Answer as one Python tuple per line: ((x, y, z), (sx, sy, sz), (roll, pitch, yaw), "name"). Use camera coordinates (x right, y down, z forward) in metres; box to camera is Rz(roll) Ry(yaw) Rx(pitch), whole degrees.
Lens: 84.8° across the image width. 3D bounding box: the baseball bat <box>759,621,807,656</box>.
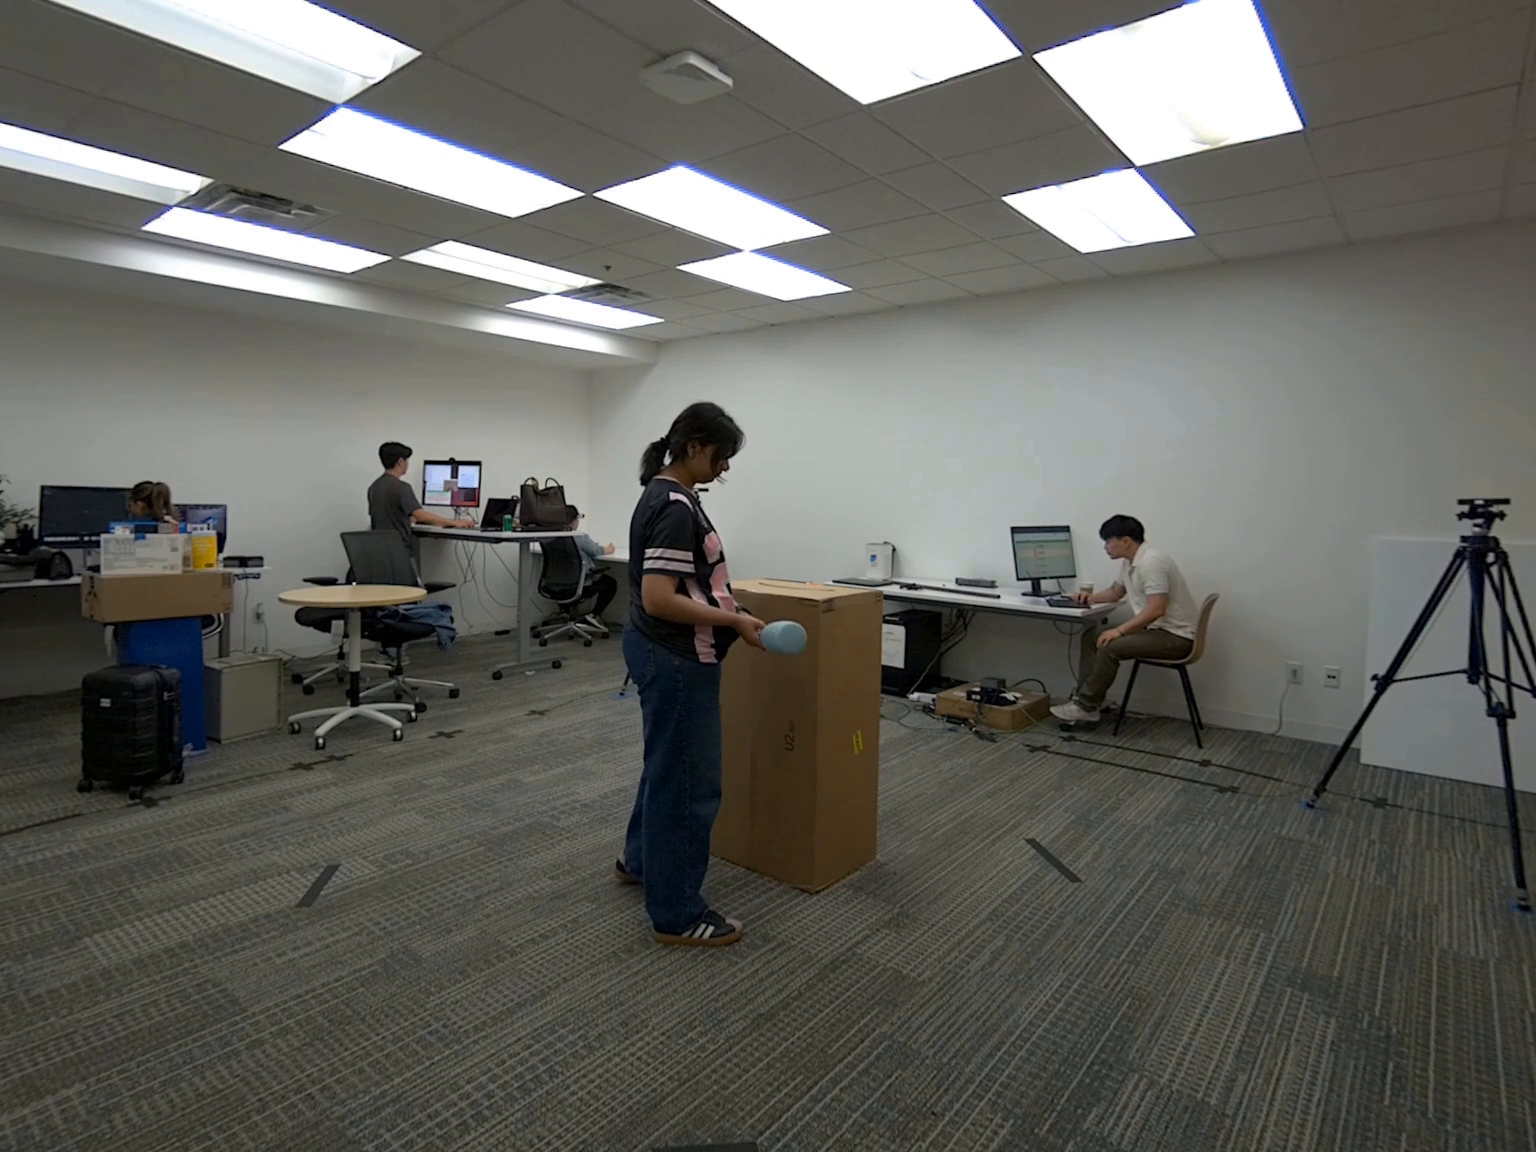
((-0.010, 0.176, 2.442), (0.088, 0.089, 0.547), (0, -4, -13), "baseball bat")
